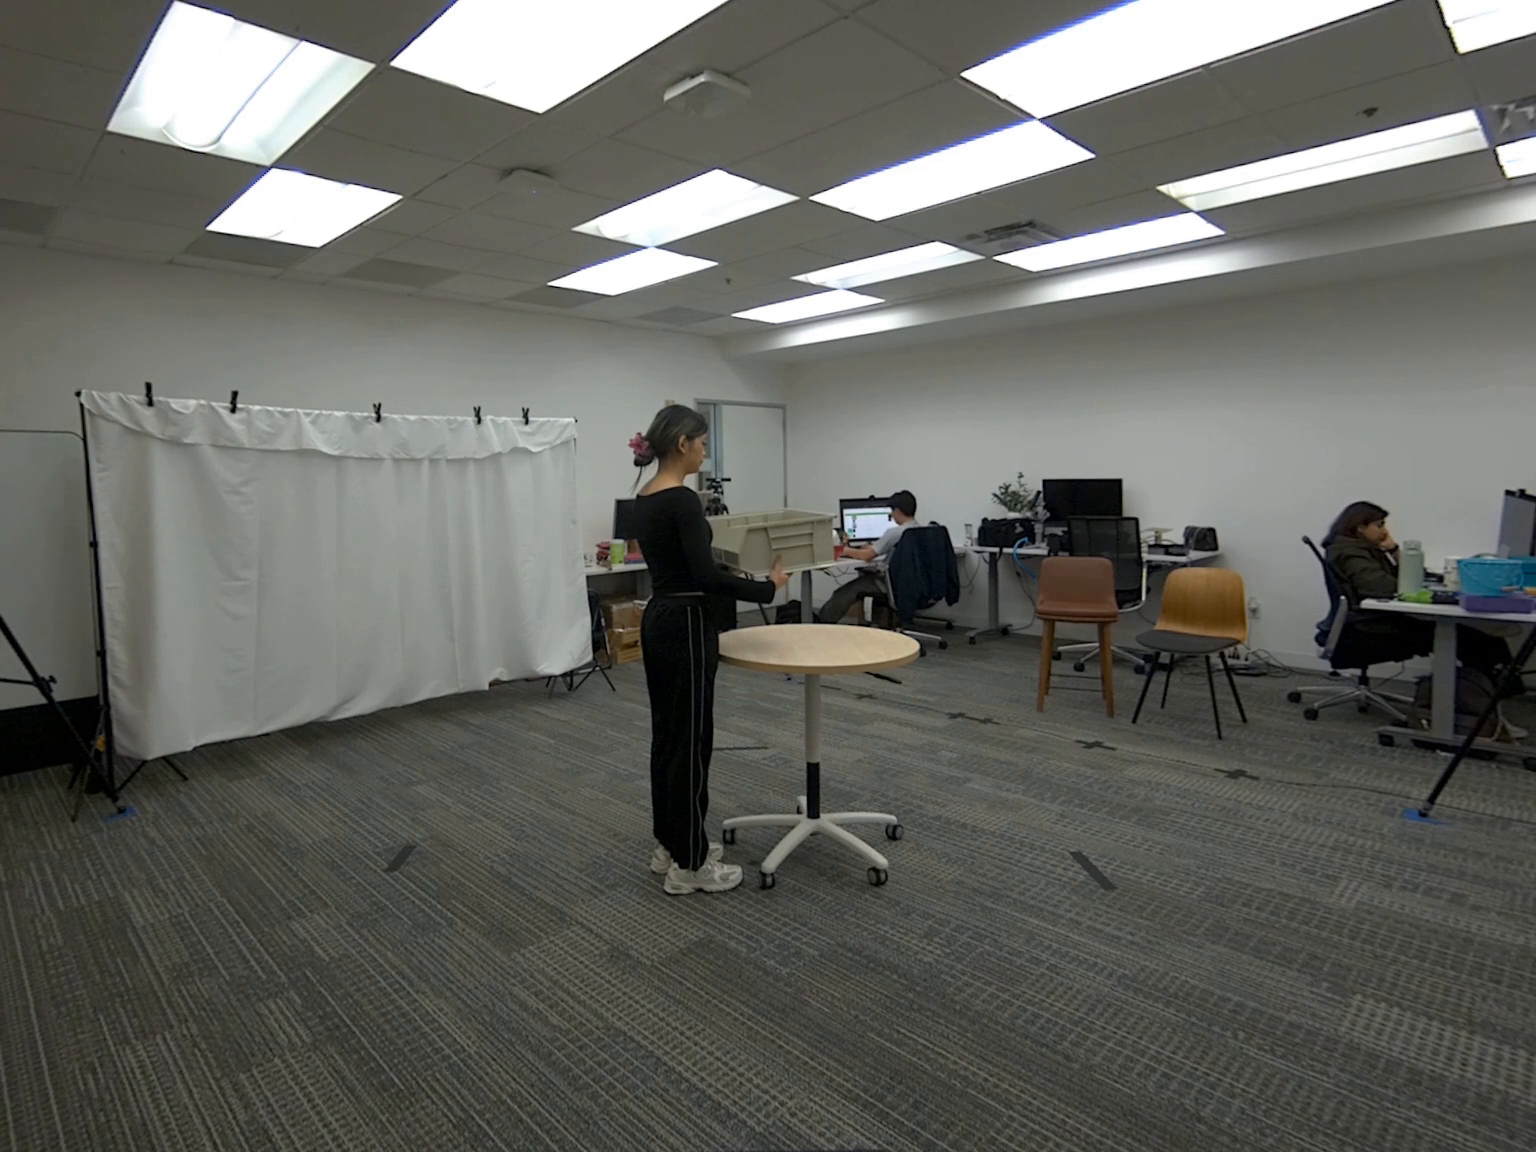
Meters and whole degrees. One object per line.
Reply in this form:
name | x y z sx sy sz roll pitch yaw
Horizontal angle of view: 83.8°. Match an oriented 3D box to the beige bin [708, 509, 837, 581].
beige bin | -0.011 -0.124 3.096 0.370 0.187 0.433 -7 9 -23
